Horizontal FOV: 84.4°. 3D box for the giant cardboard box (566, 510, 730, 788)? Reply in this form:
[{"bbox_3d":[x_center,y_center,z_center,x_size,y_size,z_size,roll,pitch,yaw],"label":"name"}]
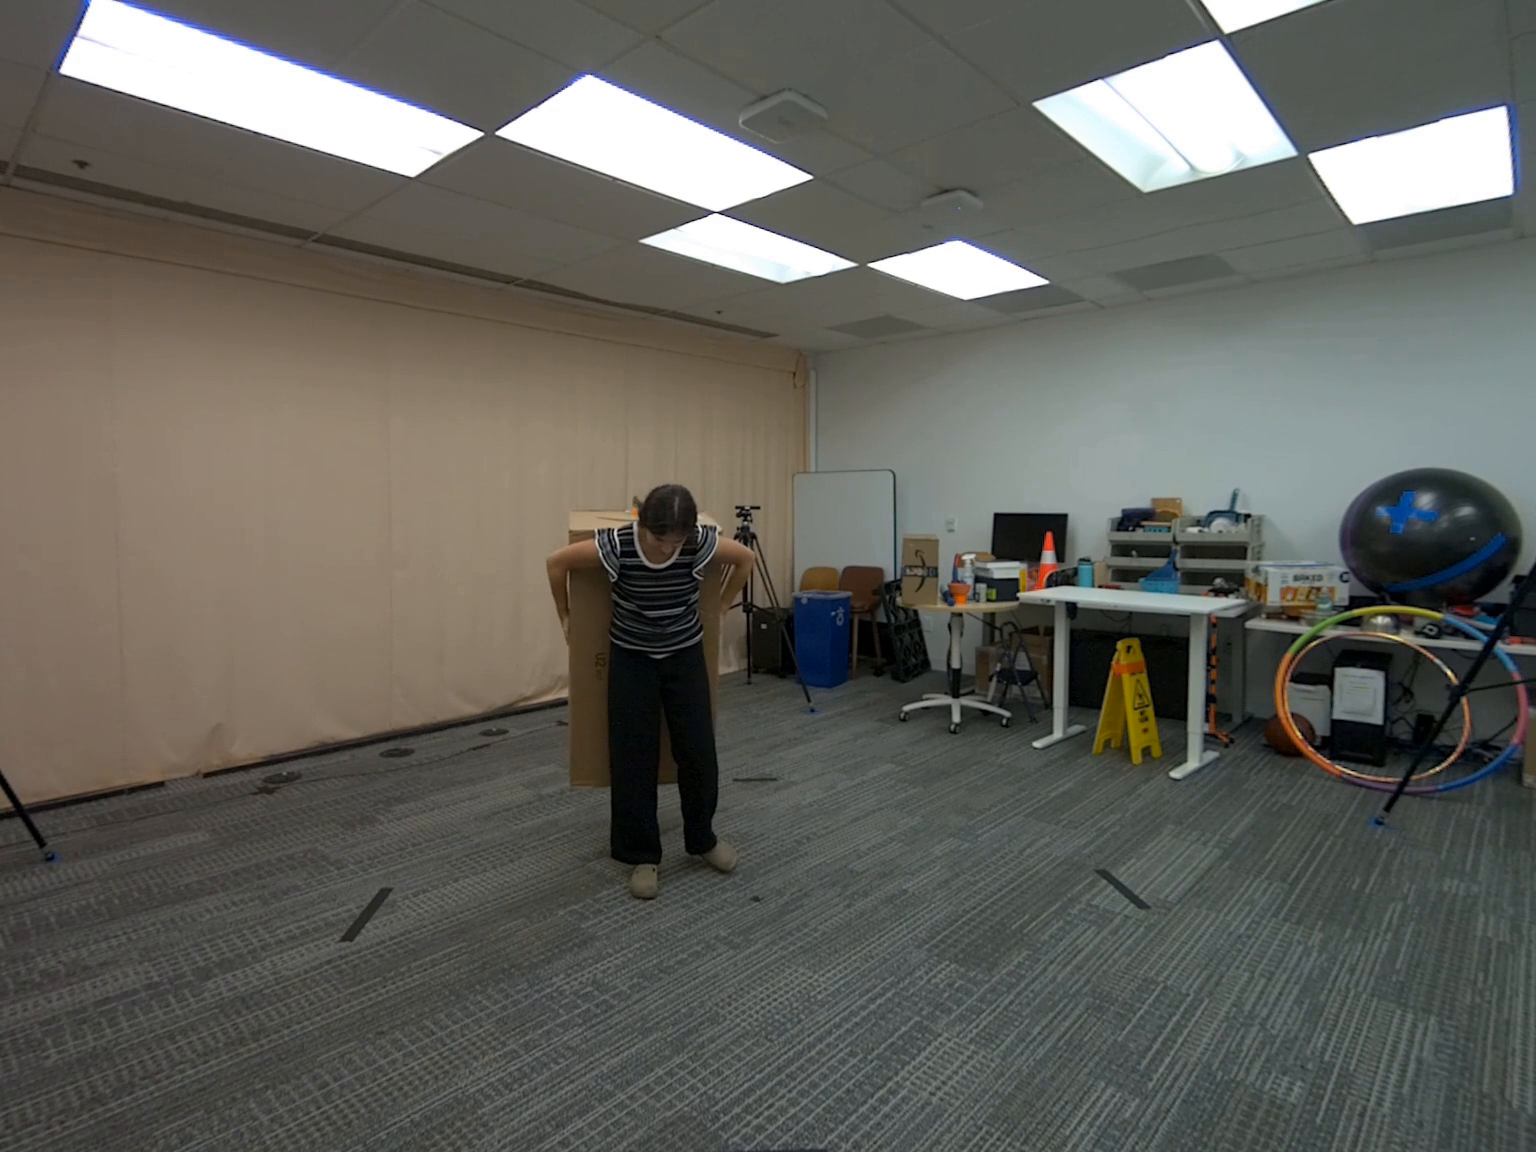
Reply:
[{"bbox_3d":[-0.510,0.279,3.403,0.571,1.019,0.434,1,12,-12],"label":"giant cardboard box"}]
